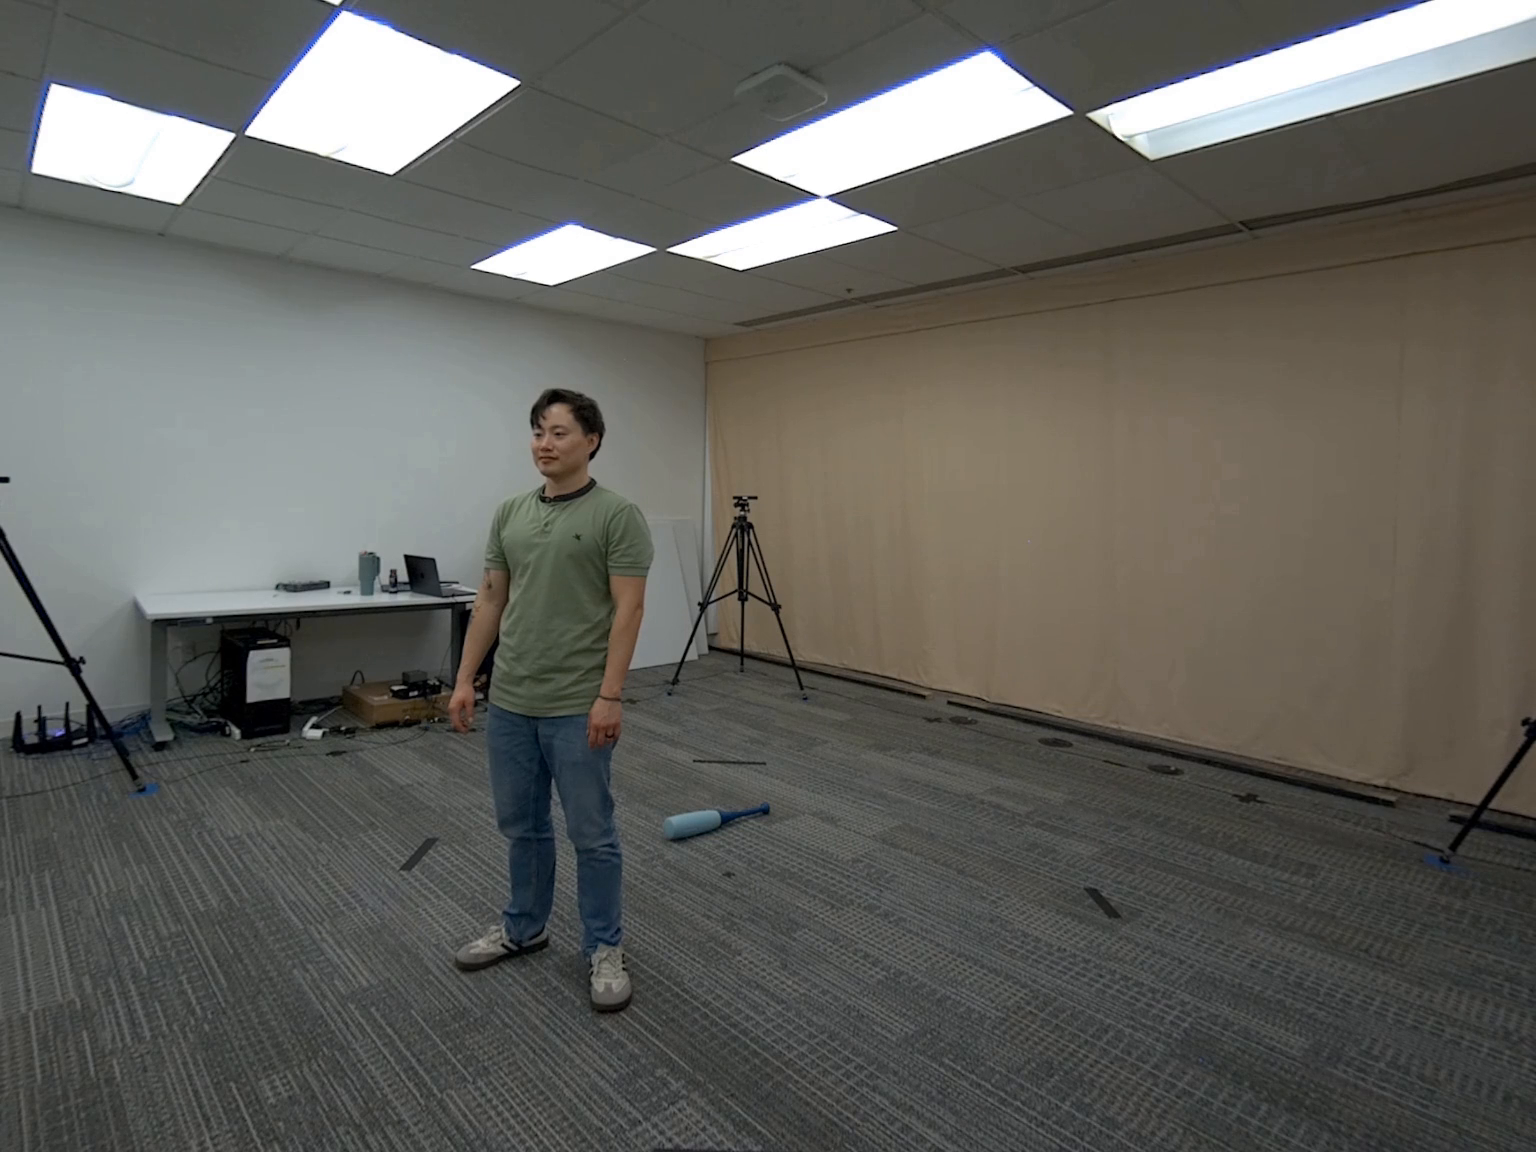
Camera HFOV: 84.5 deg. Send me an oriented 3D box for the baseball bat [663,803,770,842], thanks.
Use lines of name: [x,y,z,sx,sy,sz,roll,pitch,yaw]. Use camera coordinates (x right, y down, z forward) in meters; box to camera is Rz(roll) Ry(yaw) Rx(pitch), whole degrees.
baseball bat: [-0.214,1.028,3.559,0.530,0.089,0.091,3,2,-41]
